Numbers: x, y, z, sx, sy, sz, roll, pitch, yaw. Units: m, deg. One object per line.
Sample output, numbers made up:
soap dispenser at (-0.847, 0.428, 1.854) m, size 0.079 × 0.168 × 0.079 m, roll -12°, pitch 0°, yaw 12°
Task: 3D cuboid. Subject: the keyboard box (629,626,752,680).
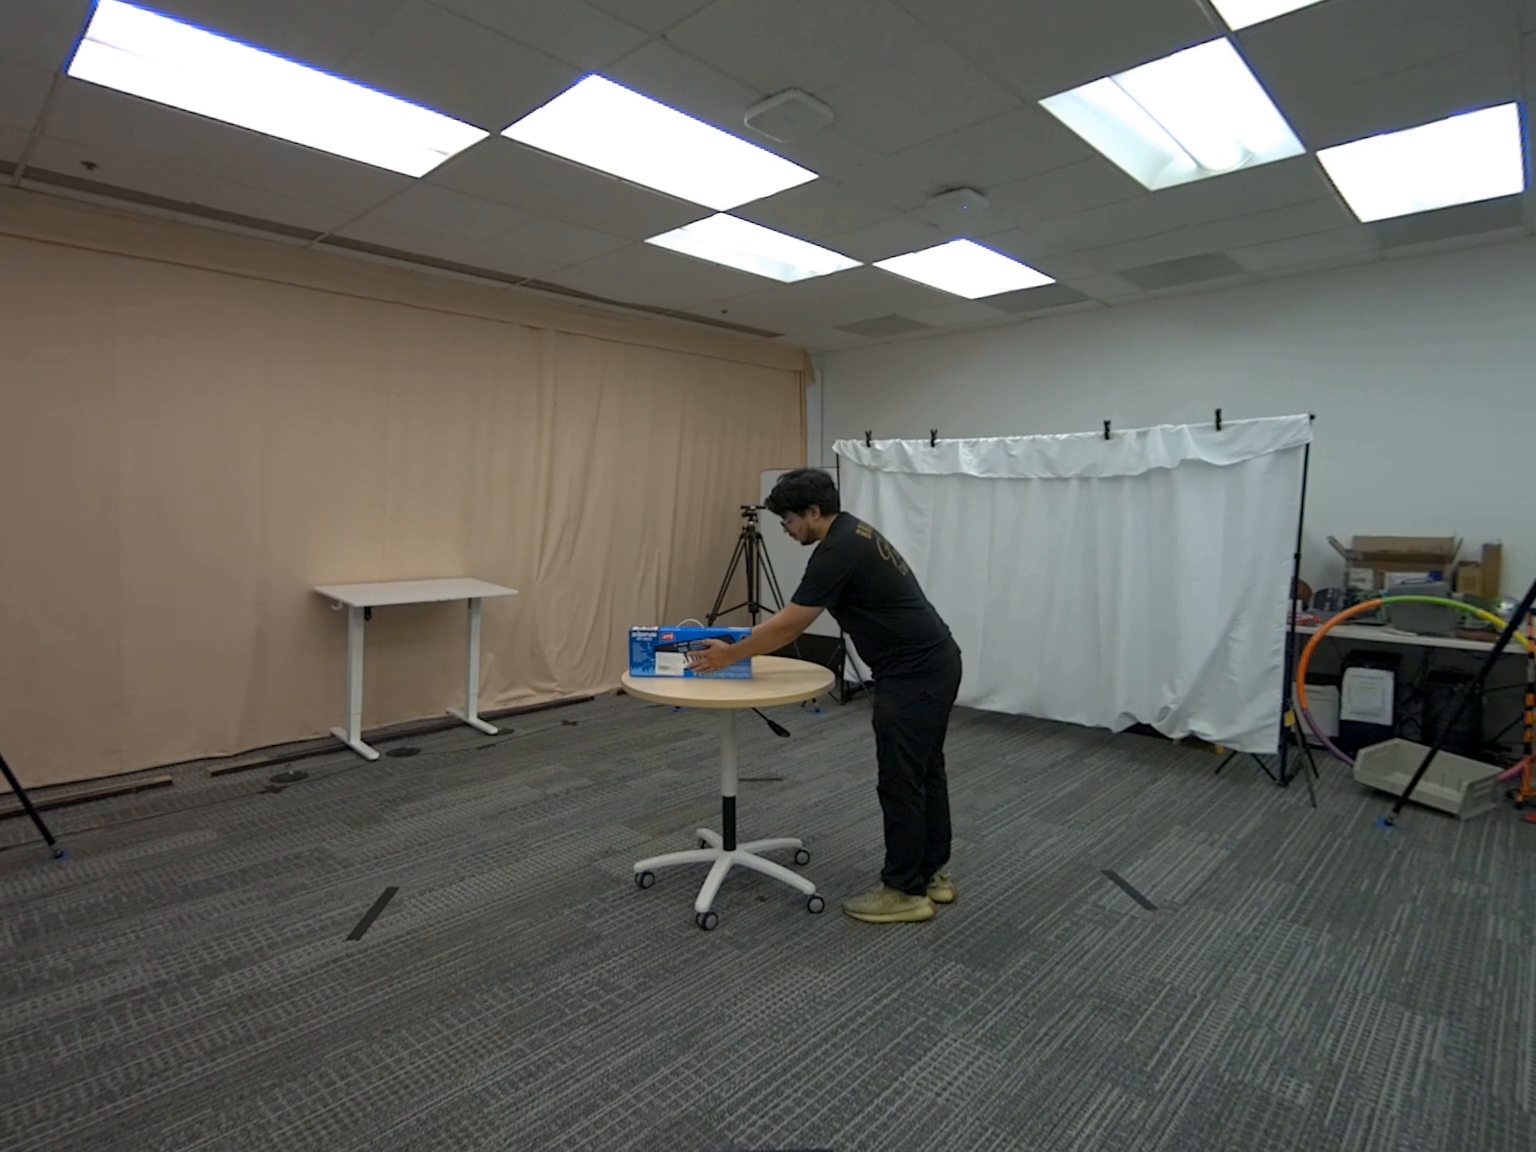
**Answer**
keyboard box at (-0.274, 0.279, 3.019) m, size 0.439 × 0.175 × 0.059 m, roll 0°, pitch 6°, yaw 4°
